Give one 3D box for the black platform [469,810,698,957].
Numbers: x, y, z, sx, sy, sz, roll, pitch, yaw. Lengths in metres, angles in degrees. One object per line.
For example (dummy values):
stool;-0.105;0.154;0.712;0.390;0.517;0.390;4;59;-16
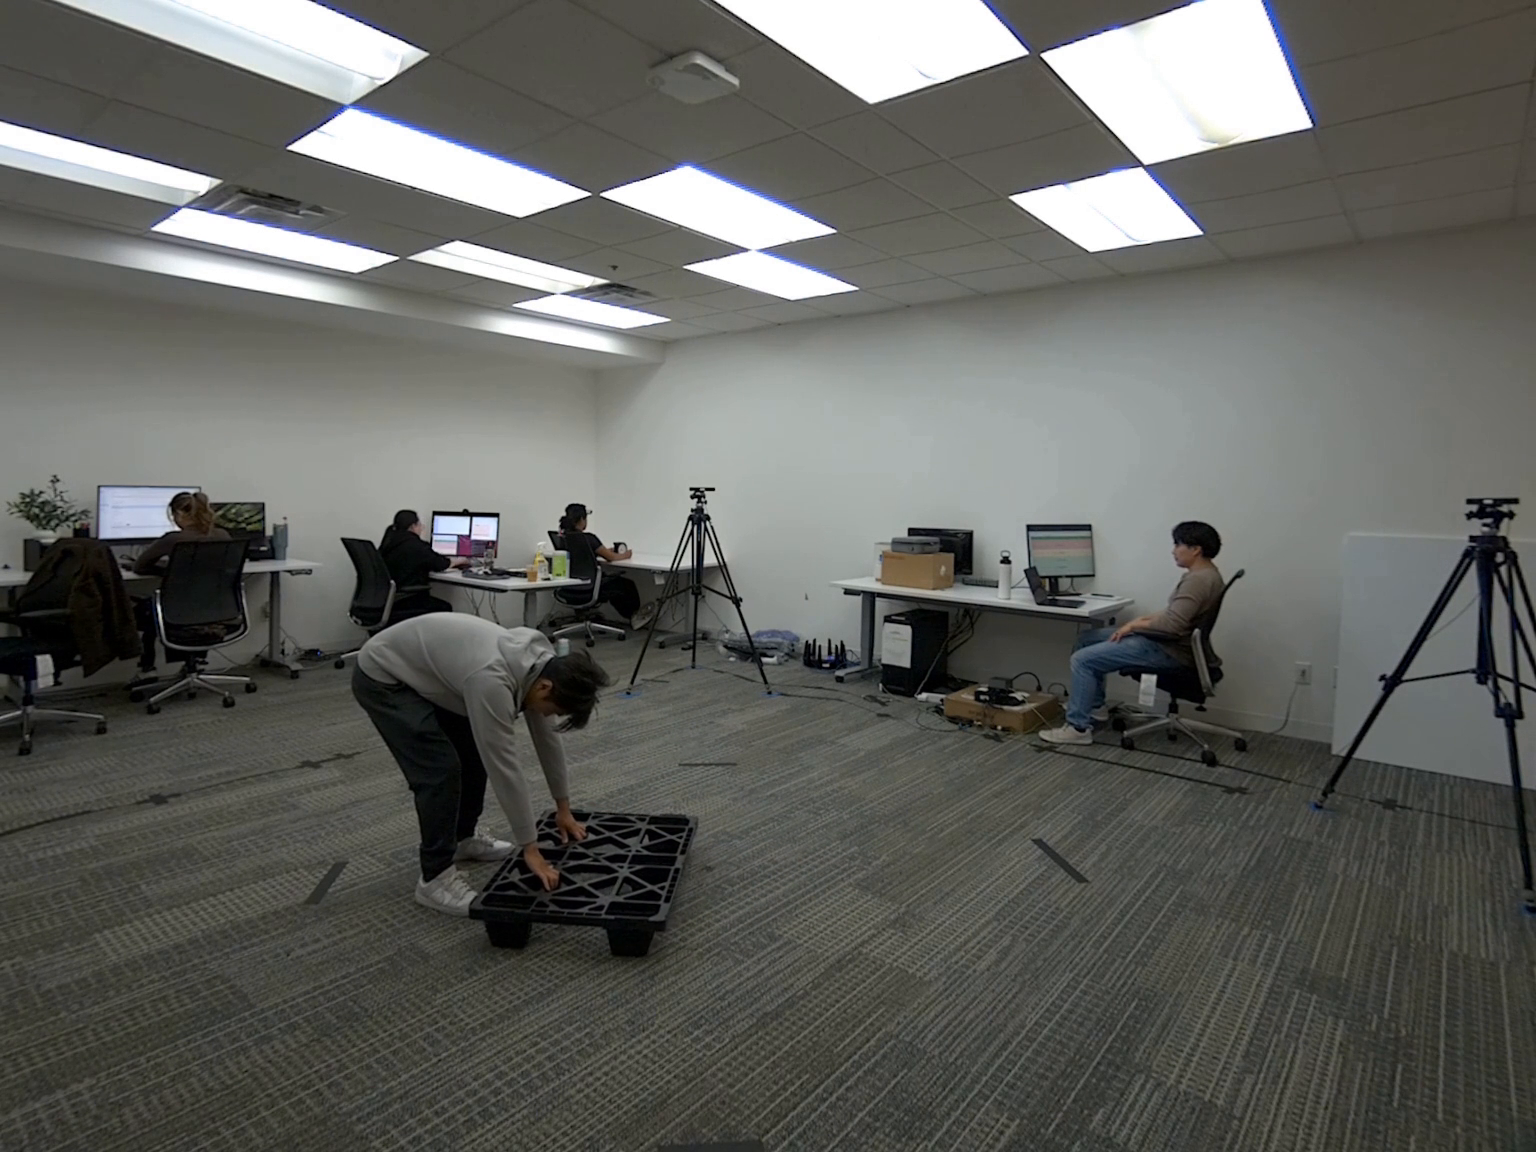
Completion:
black platform;-0.593;1.011;2.888;0.608;0.143;0.805;0;6;4
